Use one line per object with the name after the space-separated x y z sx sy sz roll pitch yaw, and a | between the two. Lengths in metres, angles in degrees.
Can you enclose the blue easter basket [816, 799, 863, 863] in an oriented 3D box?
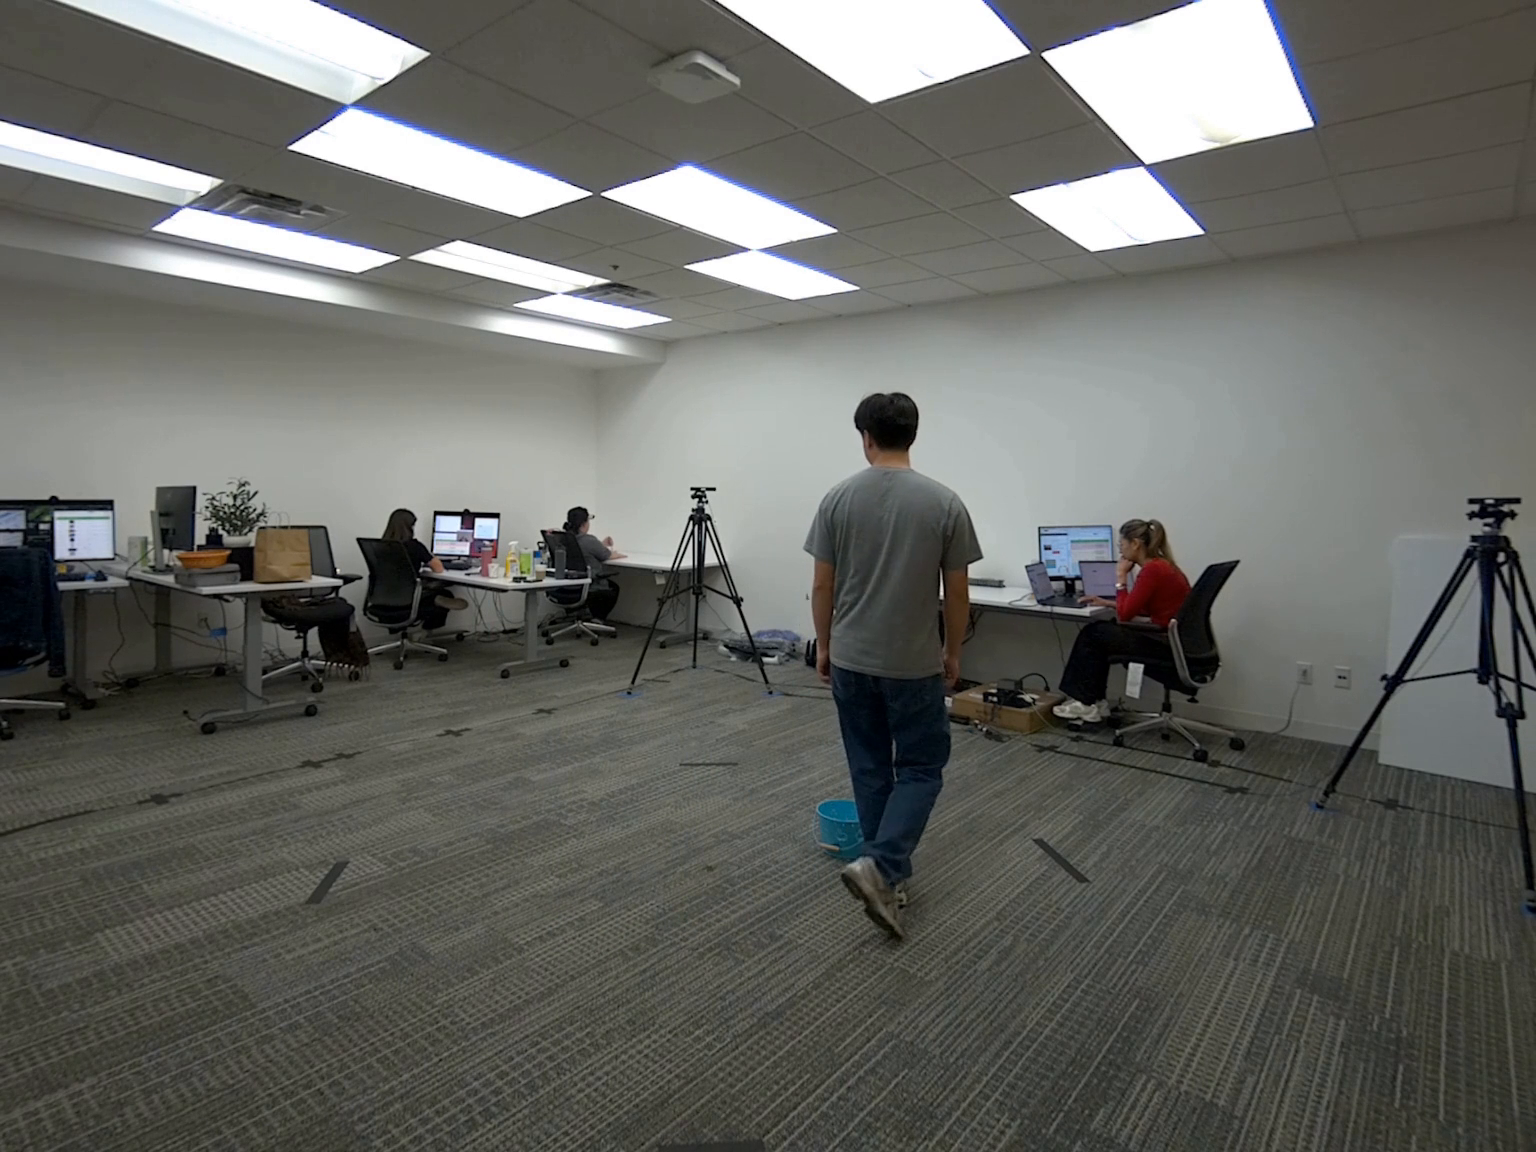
0.290 0.977 3.309 0.243 0.155 0.245 1 4 -2 | blue easter basket
